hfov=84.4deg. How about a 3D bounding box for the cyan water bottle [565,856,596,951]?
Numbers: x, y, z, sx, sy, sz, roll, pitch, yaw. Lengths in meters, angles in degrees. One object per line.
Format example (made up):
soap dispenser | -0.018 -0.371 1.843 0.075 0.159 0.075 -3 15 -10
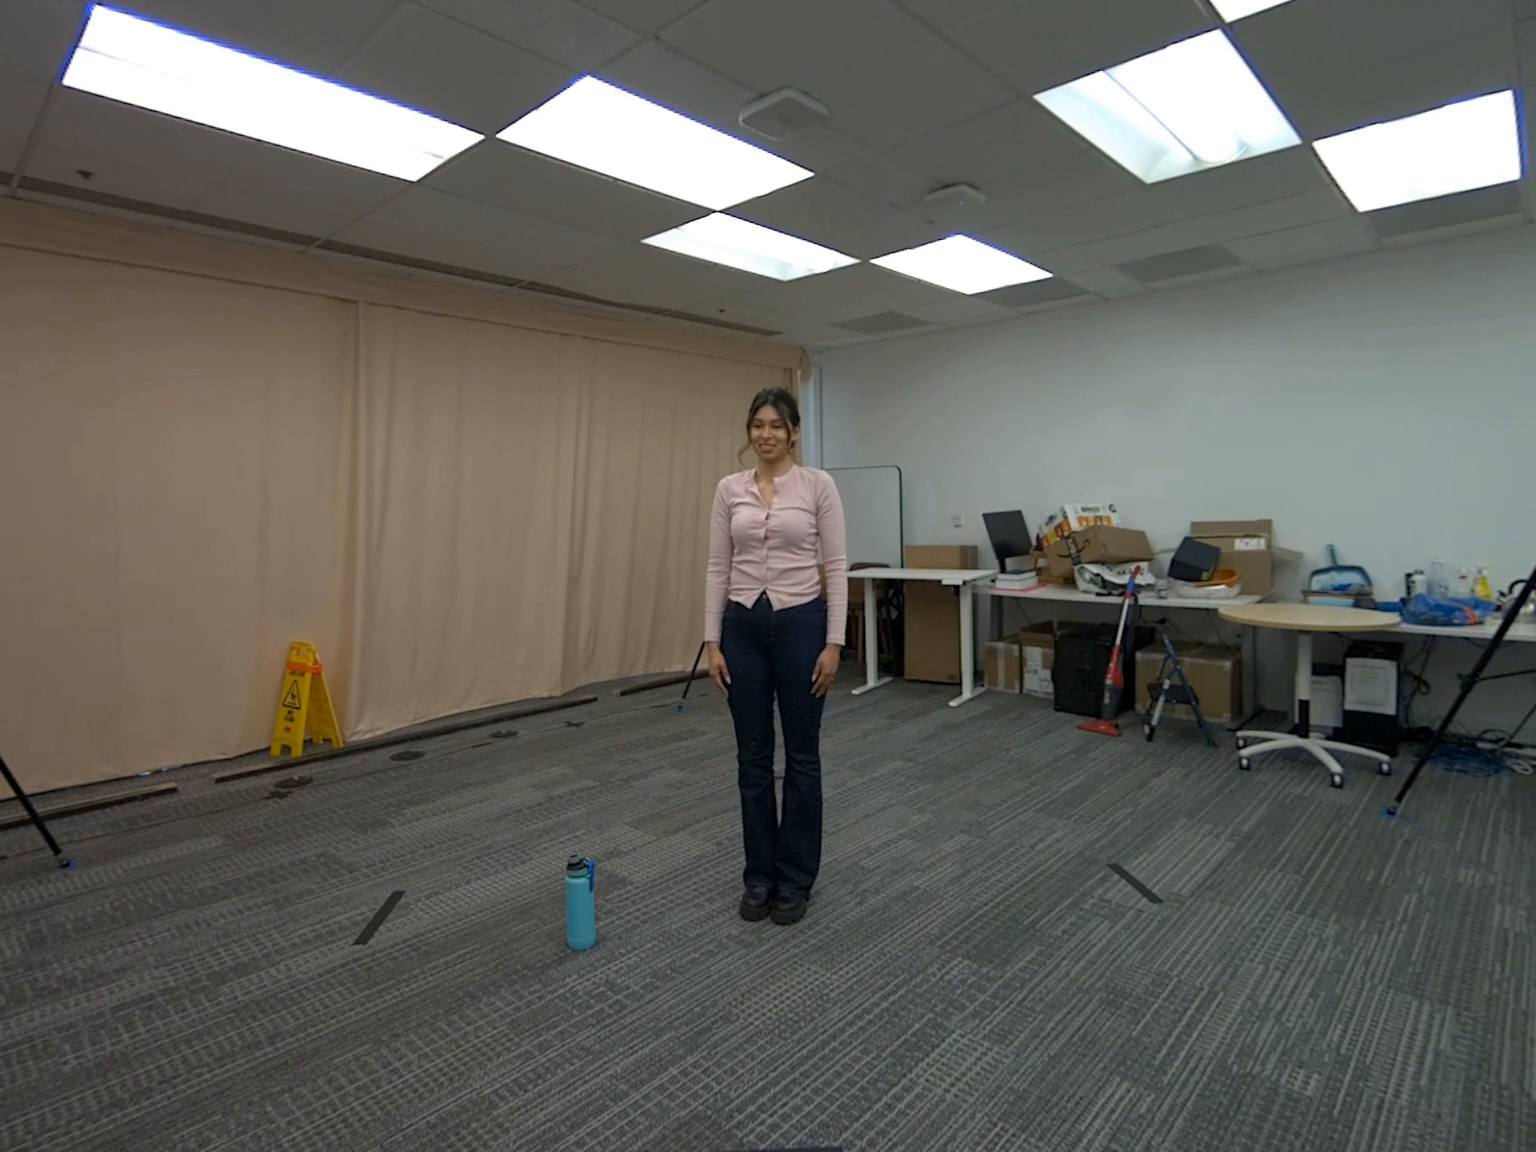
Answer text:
cyan water bottle | -0.598 1.037 2.688 0.092 0.283 0.092 0 2 -2
